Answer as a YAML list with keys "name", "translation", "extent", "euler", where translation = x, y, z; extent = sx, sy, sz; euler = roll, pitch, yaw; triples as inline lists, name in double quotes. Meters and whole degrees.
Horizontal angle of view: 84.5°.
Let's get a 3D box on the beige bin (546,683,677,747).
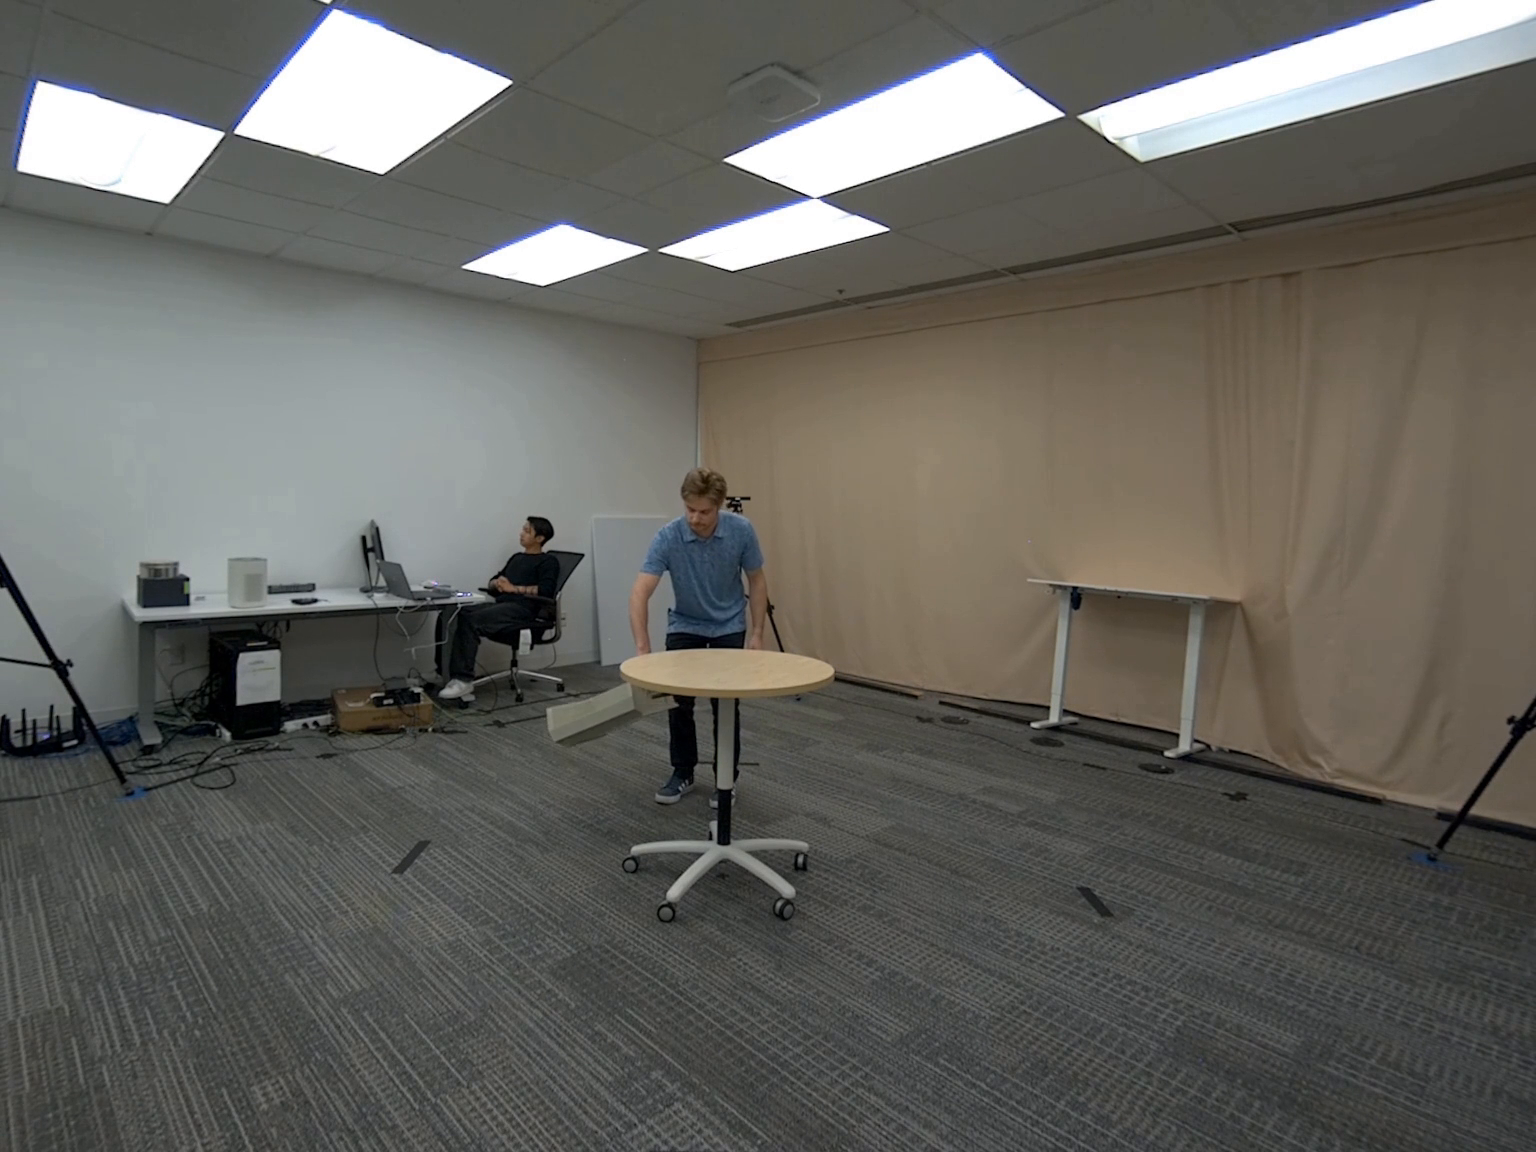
- name: "beige bin"
  translation: [-0.659, 0.557, 3.527]
  extent: [0.425, 0.191, 0.370]
  euler: [-24, -10, 19]
